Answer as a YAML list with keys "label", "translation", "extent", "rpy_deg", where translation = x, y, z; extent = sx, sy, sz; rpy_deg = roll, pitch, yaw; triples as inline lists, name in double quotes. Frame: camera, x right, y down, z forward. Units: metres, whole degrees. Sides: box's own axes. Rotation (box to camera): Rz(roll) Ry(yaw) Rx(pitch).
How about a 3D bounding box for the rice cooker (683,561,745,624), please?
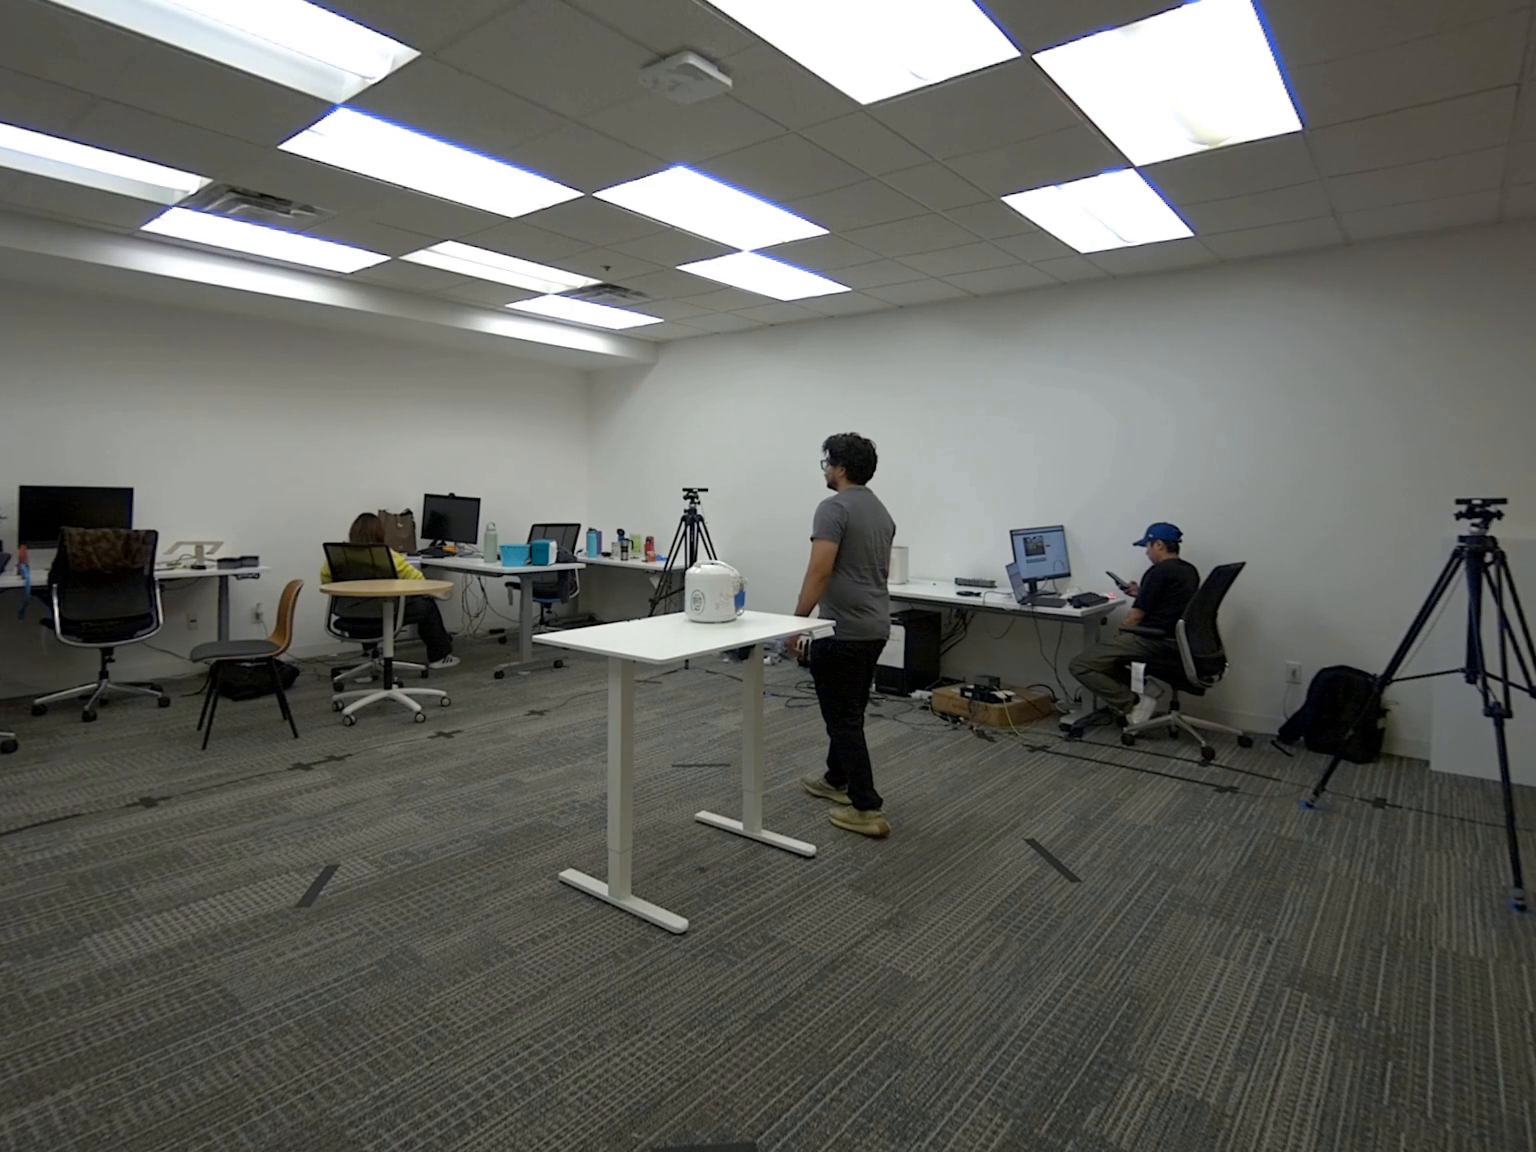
- label: "rice cooker"
  translation: [-0.222, 0.053, 3.279]
  extent: [0.227, 0.232, 0.212]
  rpy_deg: [2, 4, 28]
